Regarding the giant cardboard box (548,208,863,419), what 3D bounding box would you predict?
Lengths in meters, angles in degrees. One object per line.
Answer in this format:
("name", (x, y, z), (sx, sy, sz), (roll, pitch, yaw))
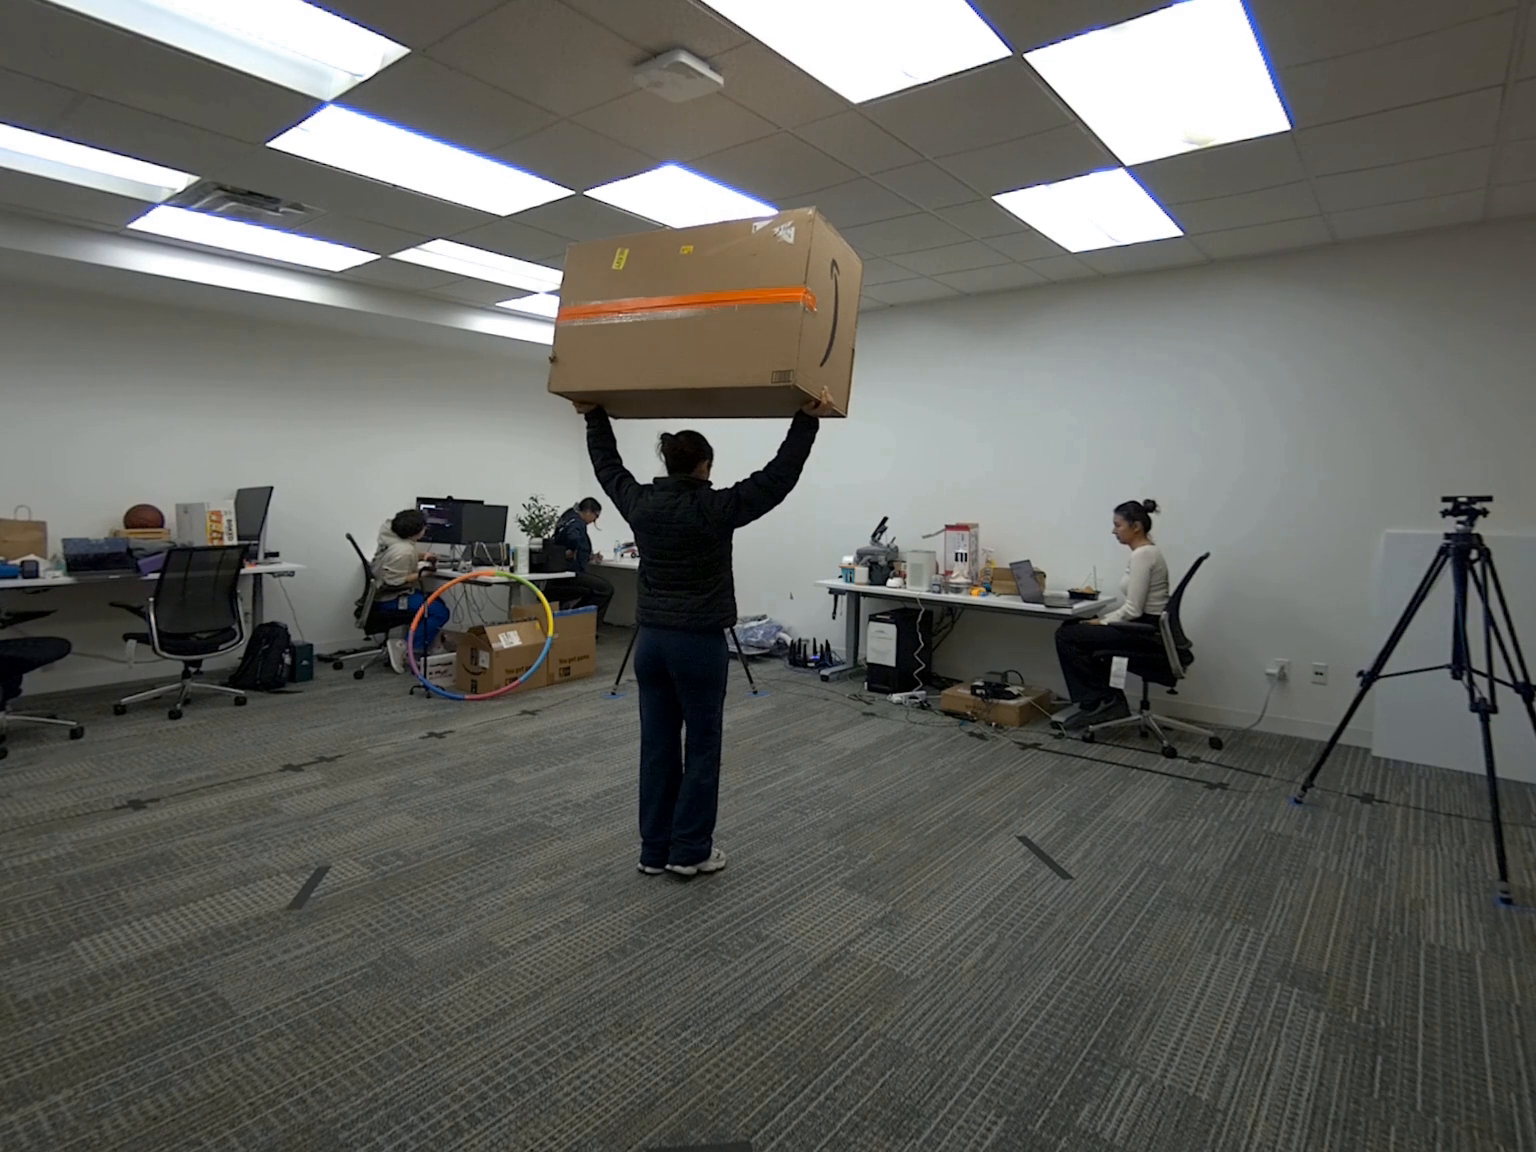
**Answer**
("giant cardboard box", (-0.225, -0.894, 3.080), (1.058, 0.585, 0.432), (5, -3, 30))
